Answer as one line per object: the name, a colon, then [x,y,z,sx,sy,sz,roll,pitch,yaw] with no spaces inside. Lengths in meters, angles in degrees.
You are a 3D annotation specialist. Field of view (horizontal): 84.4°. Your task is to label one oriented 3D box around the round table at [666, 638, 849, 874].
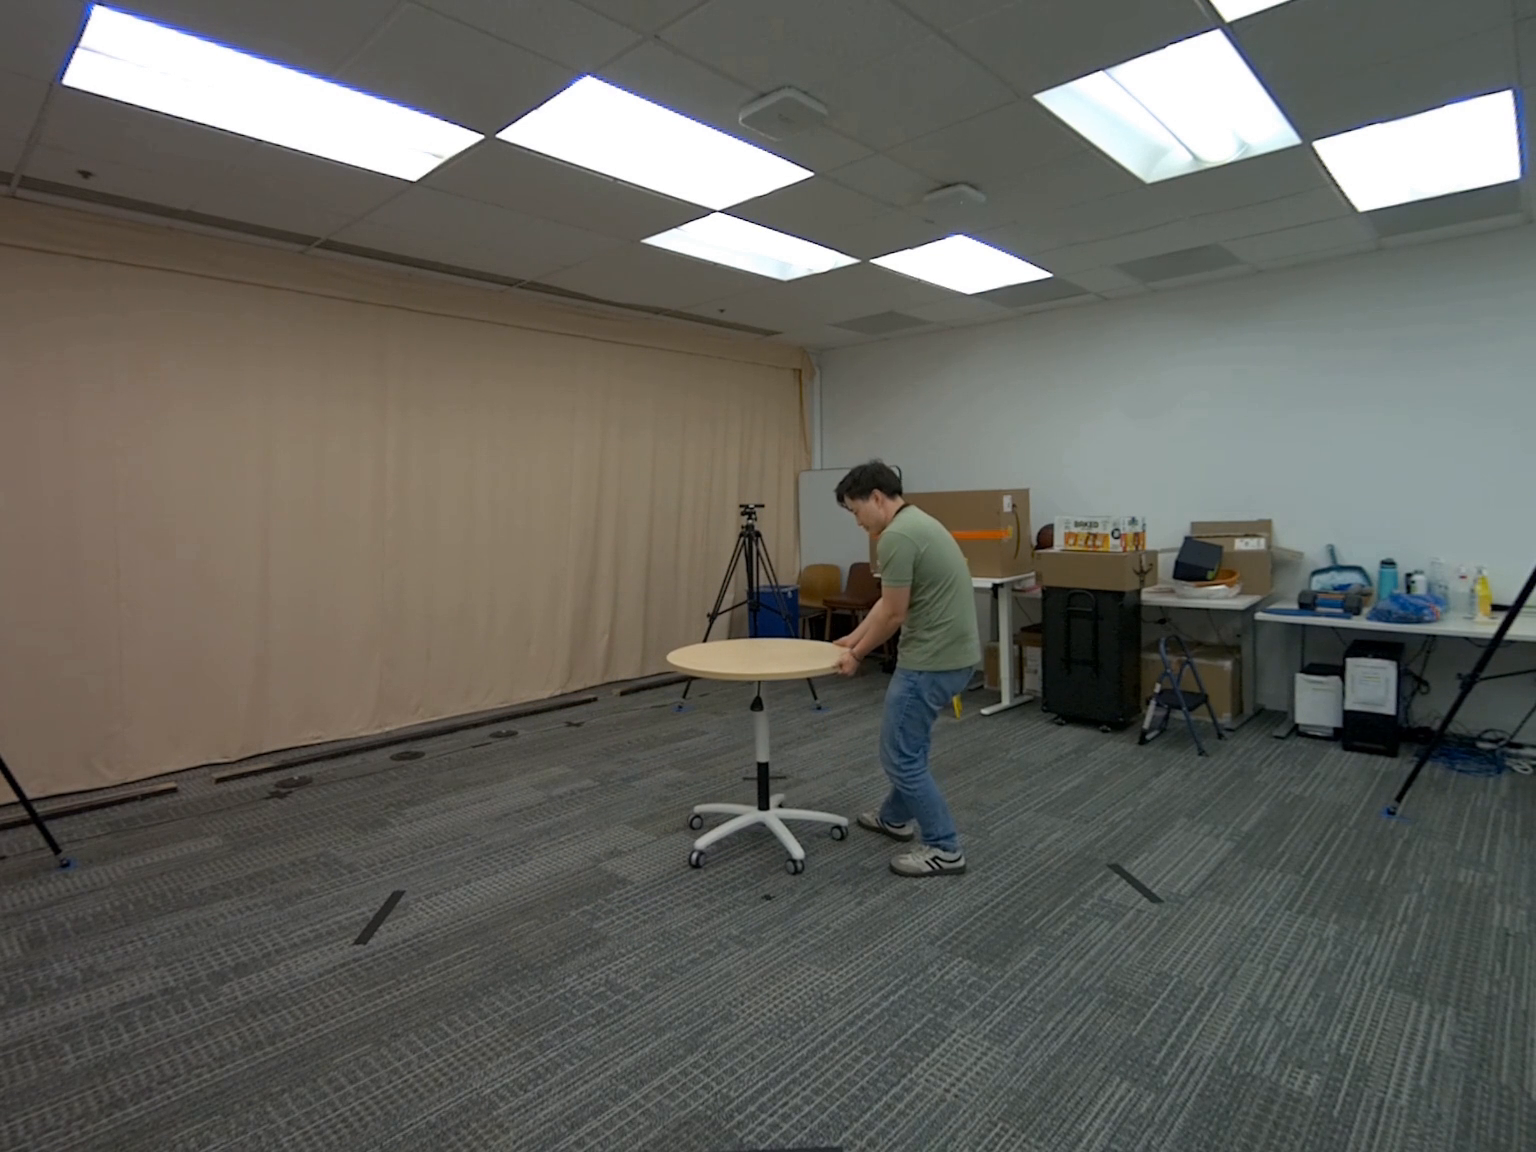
round table: [-0.028,0.711,3.459,0.763,0.792,0.766,-1,4,-2]
